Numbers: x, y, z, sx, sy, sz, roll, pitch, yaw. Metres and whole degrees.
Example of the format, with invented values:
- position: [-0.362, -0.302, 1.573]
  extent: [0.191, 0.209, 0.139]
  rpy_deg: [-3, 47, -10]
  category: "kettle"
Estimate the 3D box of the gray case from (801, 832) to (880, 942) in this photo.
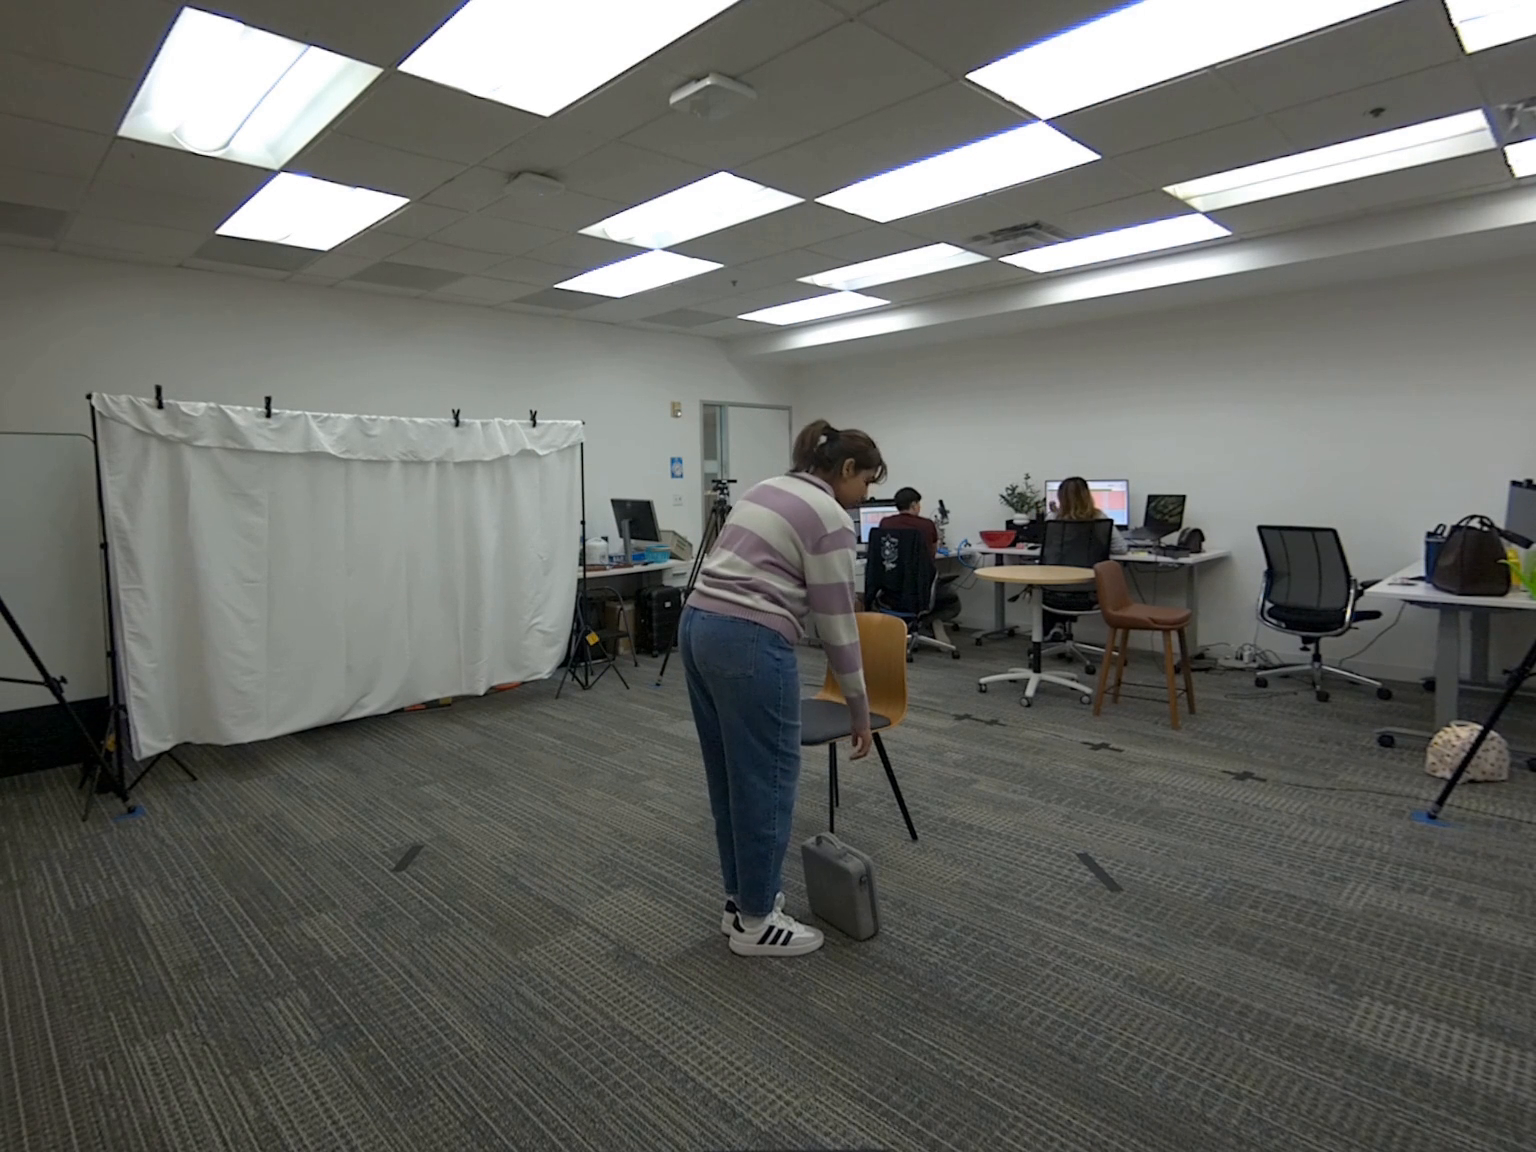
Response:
- position: [0.235, 0.961, 2.663]
  extent: [0.102, 0.259, 0.264]
  rpy_deg: [-9, 9, -29]
  category: "gray case"
